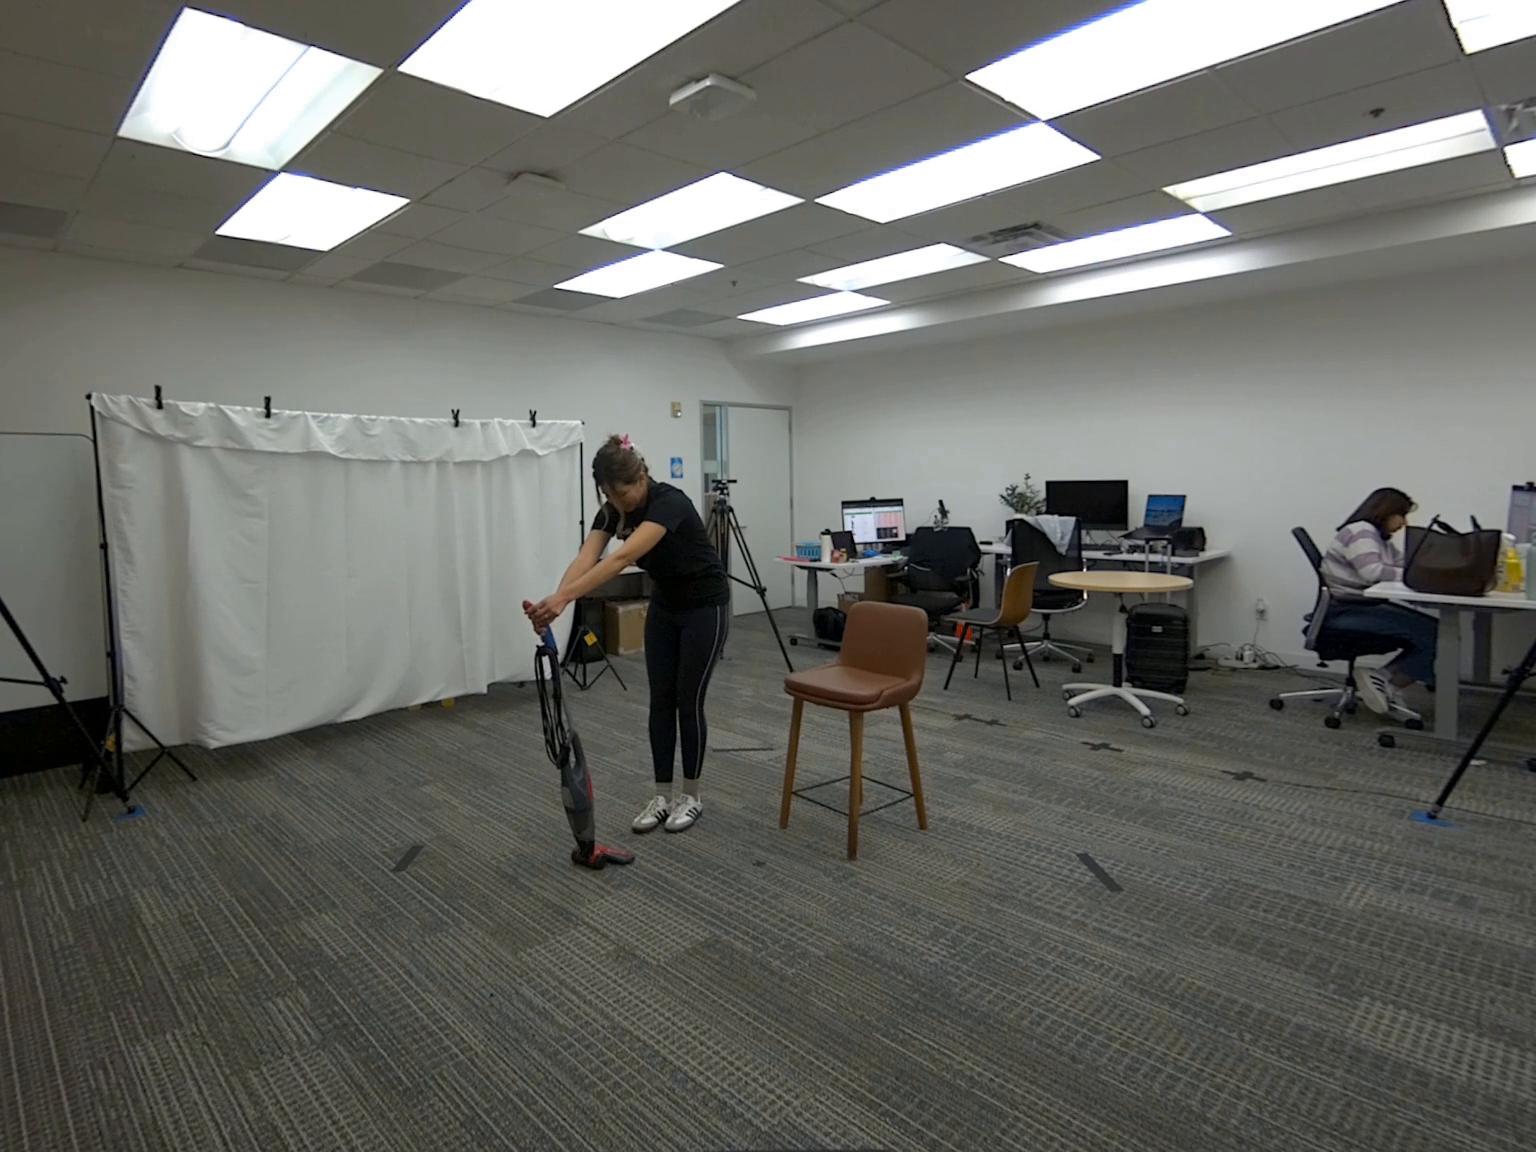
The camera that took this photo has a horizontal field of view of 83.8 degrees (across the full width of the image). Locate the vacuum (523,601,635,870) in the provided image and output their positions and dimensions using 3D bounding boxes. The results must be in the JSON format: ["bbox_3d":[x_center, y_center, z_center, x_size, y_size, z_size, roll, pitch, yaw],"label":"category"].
[{"bbox_3d":[-0.719,0.576,3.005,0.260,1.029,0.142,4,23,37],"label":"vacuum"}]
